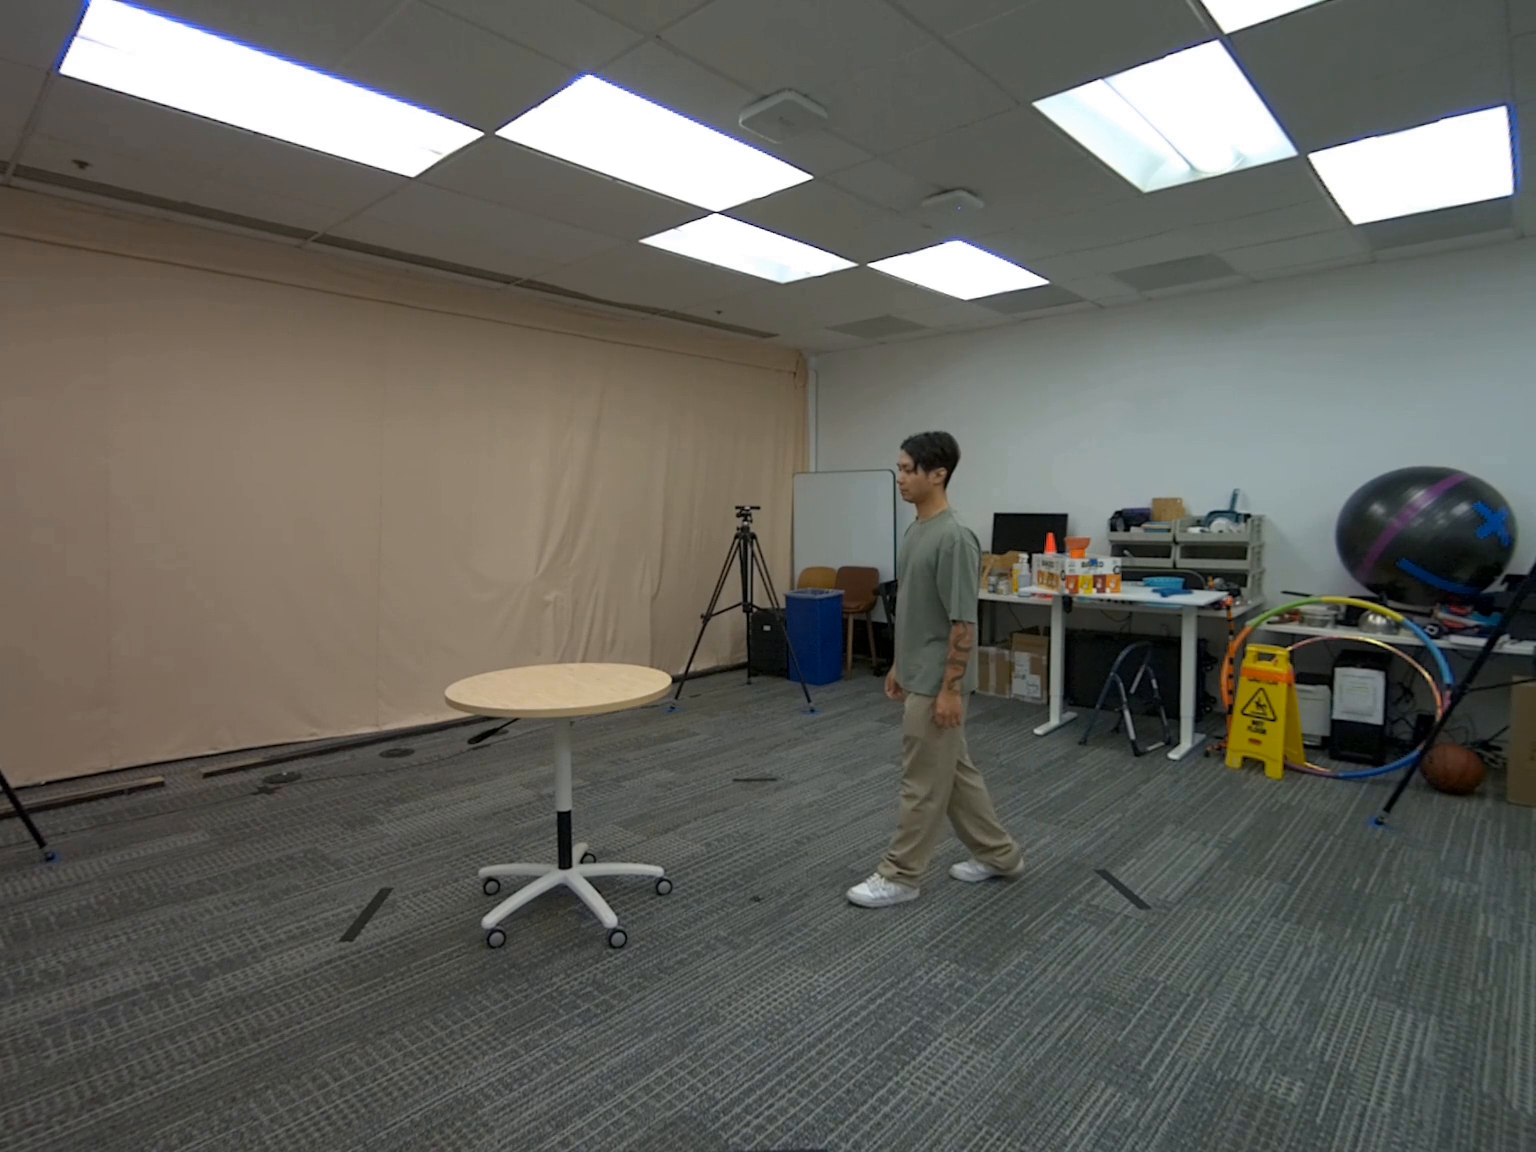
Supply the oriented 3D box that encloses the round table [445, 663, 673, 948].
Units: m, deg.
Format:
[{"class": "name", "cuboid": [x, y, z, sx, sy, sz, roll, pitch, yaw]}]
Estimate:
[{"class": "round table", "cuboid": [-0.704, 0.764, 2.936, 0.784, 0.785, 0.788, -1, 4, -2]}]
